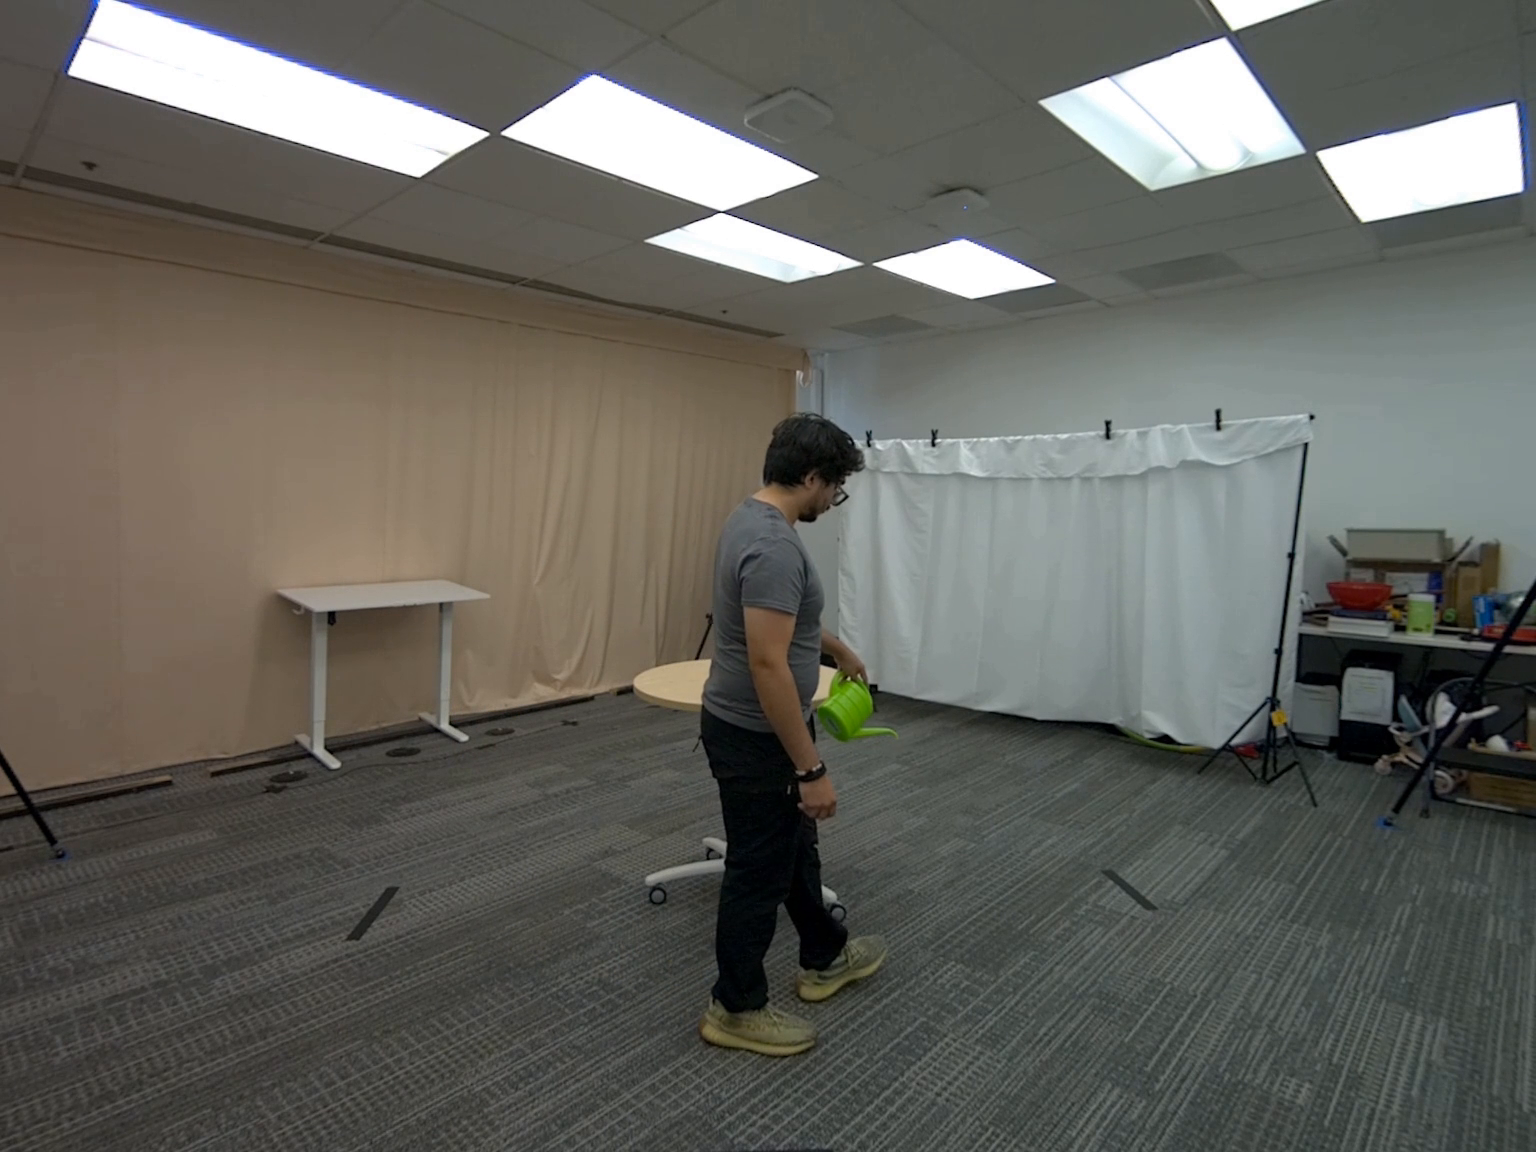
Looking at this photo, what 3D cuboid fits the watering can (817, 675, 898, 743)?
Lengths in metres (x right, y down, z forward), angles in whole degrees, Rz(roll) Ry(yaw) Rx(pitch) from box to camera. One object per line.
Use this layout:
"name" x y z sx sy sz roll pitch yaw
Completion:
"watering can" 0.280 0.418 2.489 0.175 0.280 0.098 -39 -5 -30
